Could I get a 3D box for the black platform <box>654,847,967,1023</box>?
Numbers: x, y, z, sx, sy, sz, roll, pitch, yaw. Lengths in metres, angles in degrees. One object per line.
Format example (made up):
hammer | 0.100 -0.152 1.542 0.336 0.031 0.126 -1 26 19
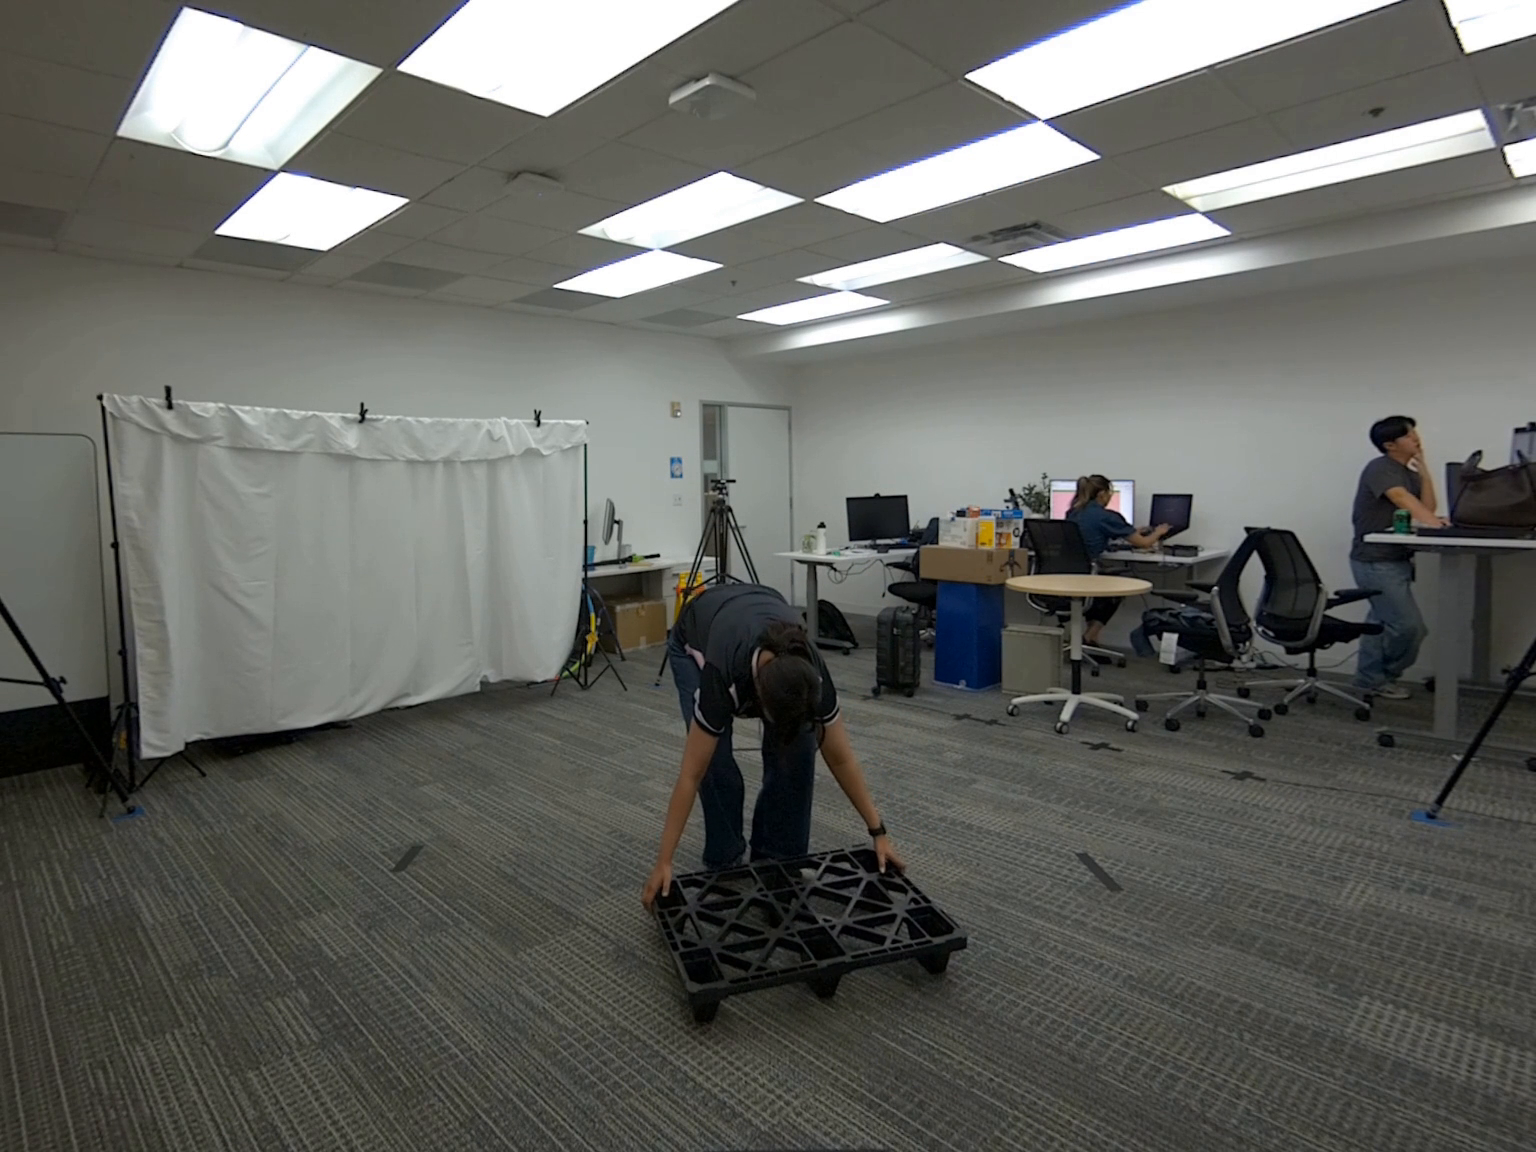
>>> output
black platform | 0.082 1.038 2.519 0.793 0.142 0.618 -3 8 -18
